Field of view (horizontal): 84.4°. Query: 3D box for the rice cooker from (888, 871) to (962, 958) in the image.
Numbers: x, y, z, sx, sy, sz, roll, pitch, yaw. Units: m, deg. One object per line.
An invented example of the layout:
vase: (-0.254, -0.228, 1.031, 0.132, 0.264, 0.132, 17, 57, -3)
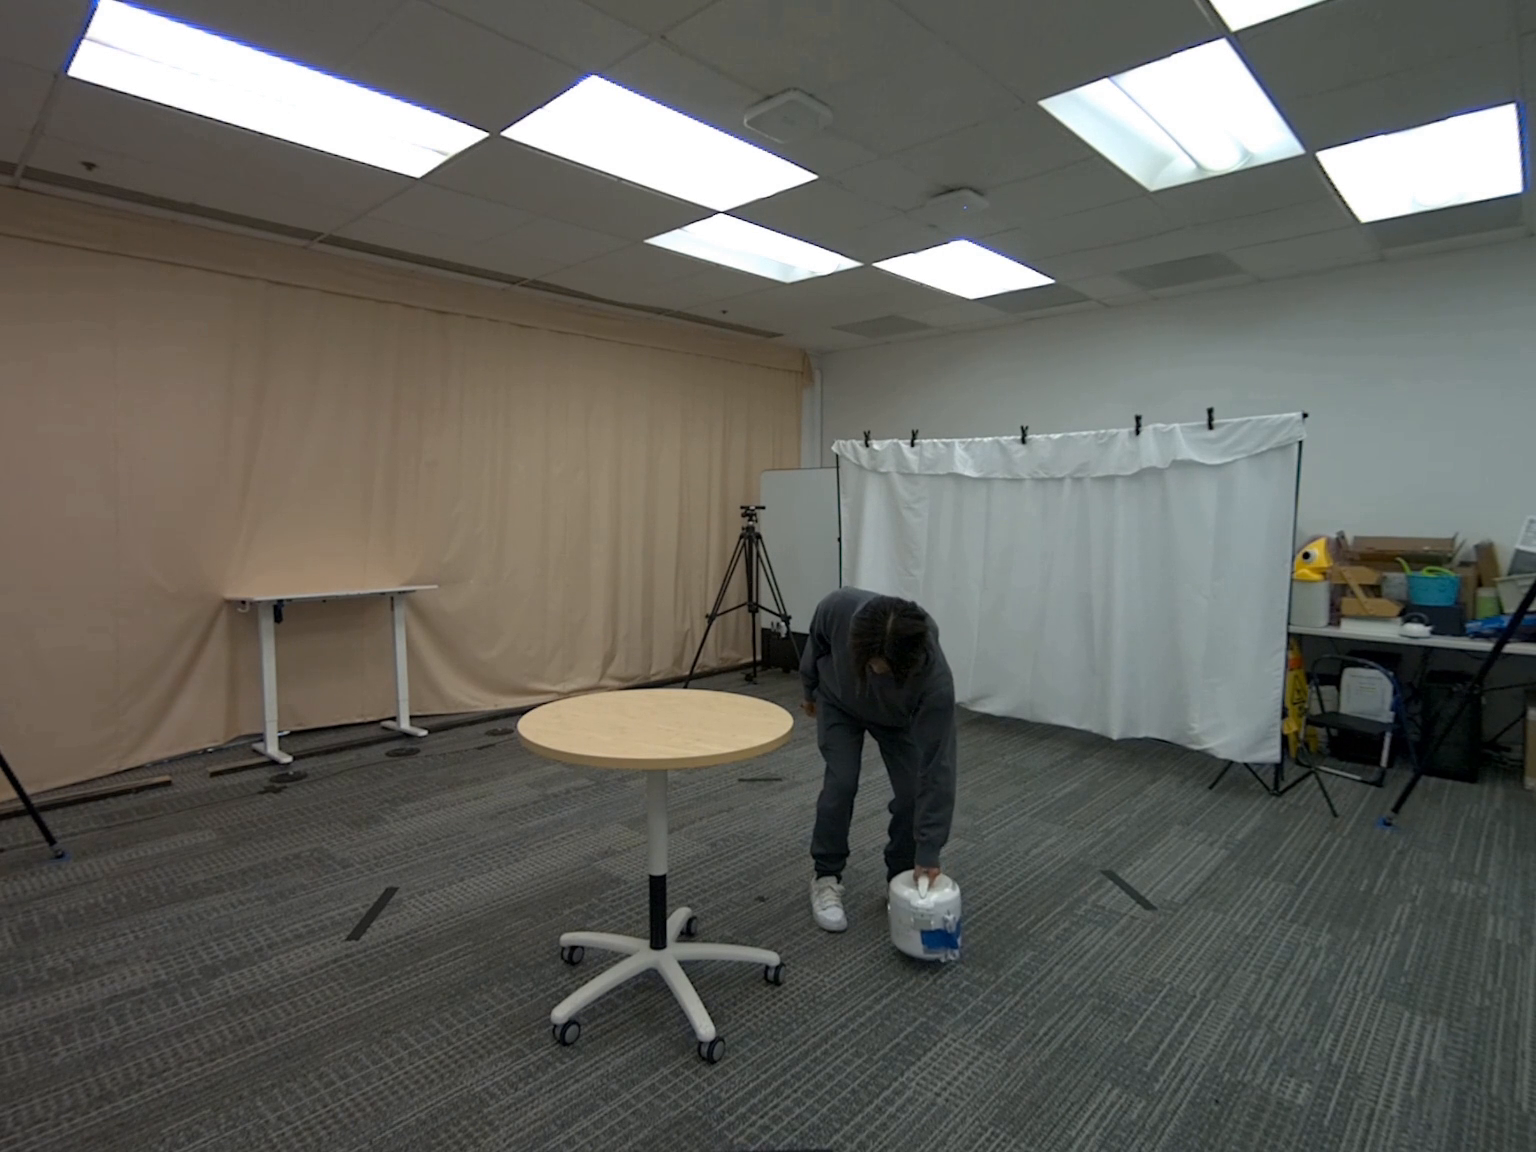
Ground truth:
rice cooker: (0.480, 1.016, 2.569, 0.222, 0.232, 0.217, 0, 5, 18)
